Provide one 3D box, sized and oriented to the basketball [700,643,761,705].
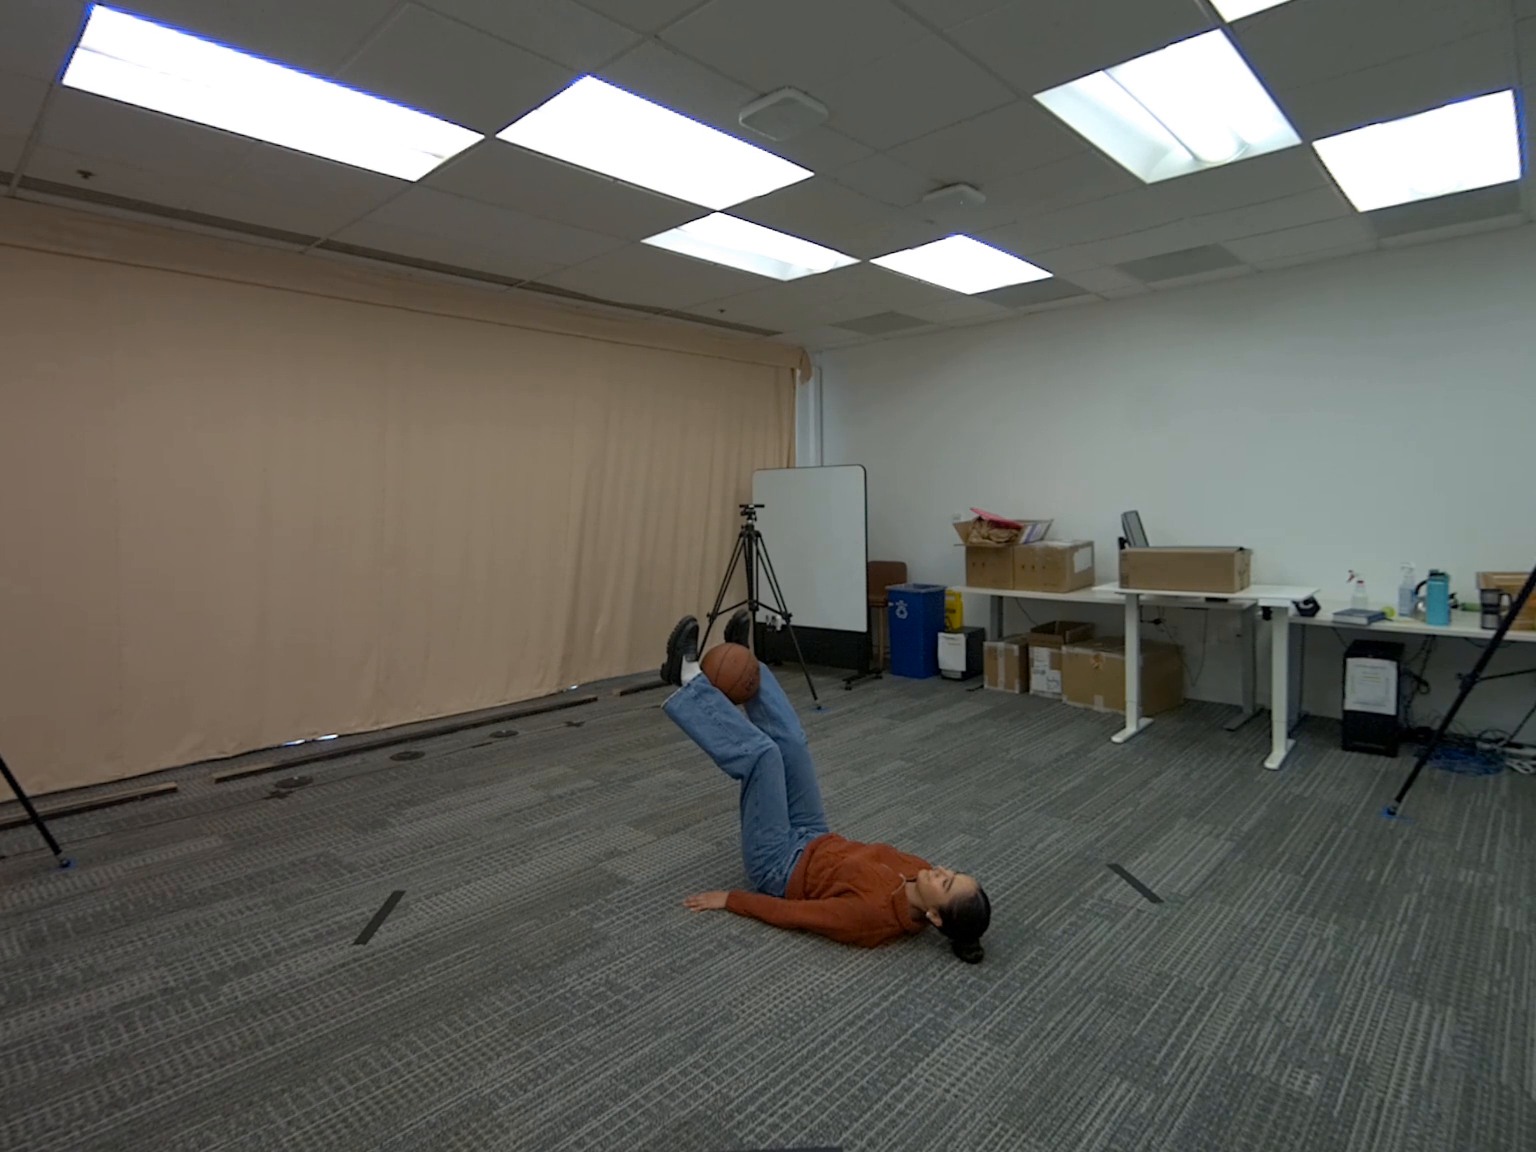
[{"bbox_3d":[-0.147,0.374,3.184,0.236,0.235,0.237,-1,4,-2],"label":"basketball"}]
